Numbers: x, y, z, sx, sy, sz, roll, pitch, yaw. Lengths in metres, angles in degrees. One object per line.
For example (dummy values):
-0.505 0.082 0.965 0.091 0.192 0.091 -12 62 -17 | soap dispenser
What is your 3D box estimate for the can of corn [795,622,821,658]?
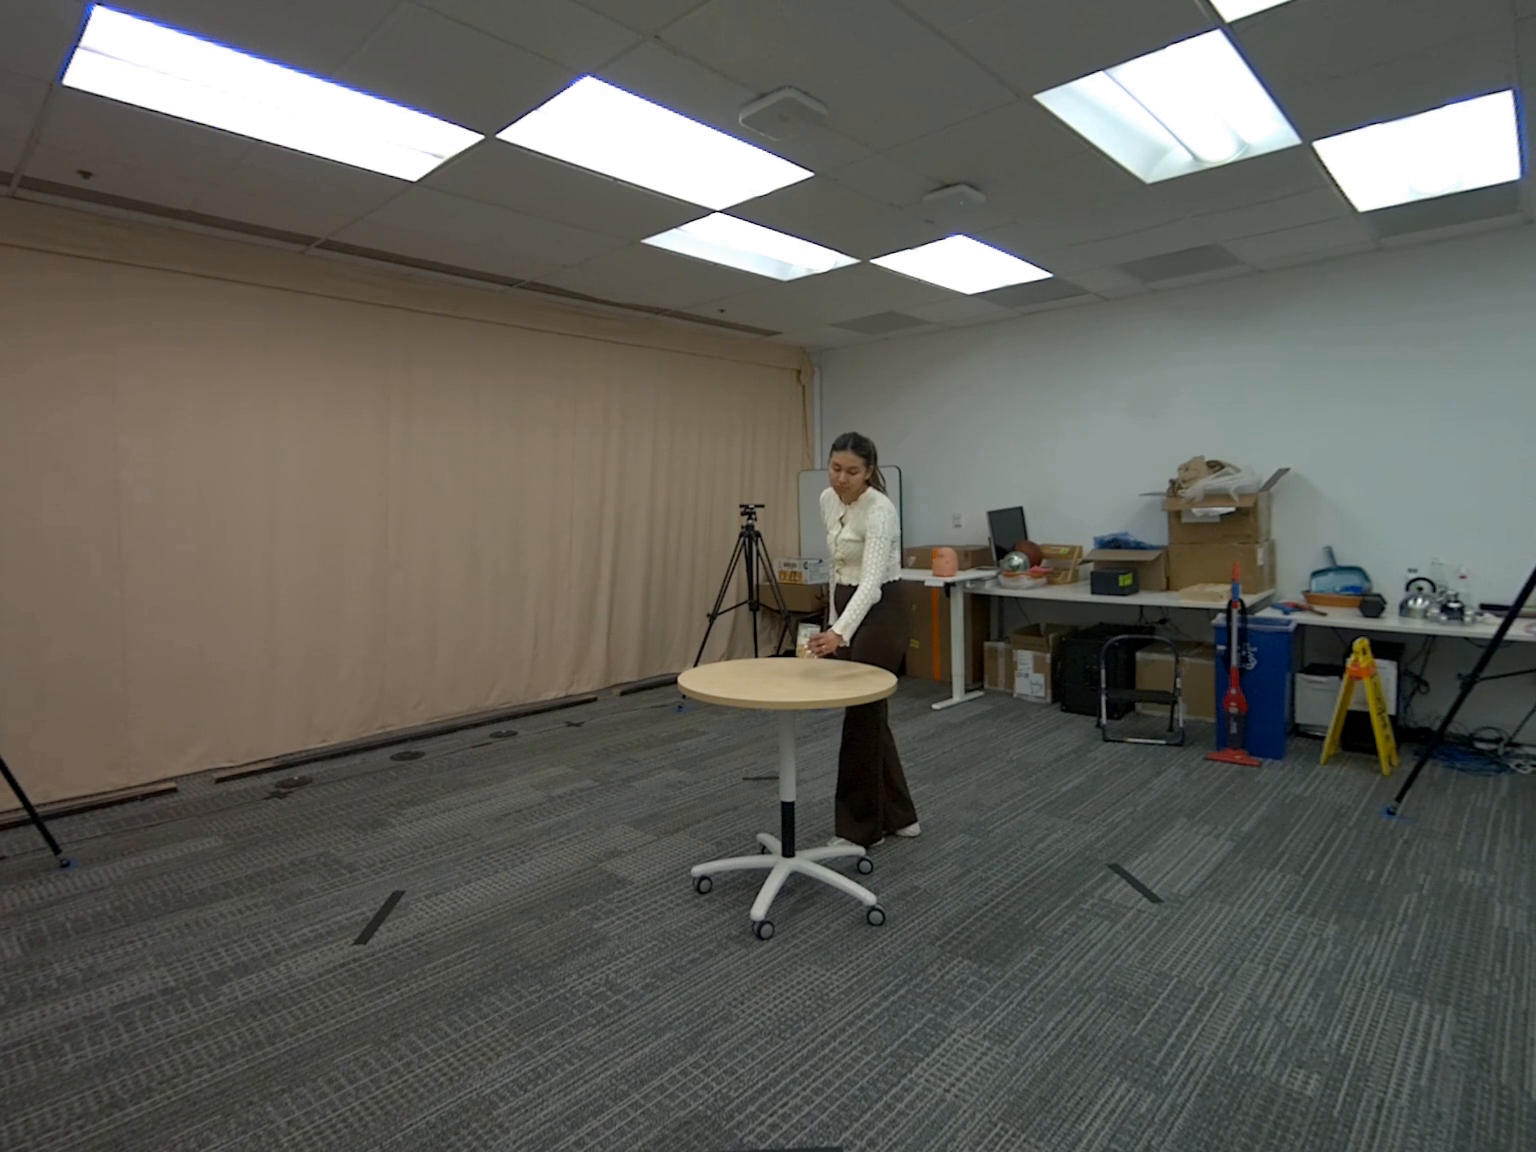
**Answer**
0.150 0.232 2.943 0.074 0.111 0.074 6 1 -2 | can of corn
